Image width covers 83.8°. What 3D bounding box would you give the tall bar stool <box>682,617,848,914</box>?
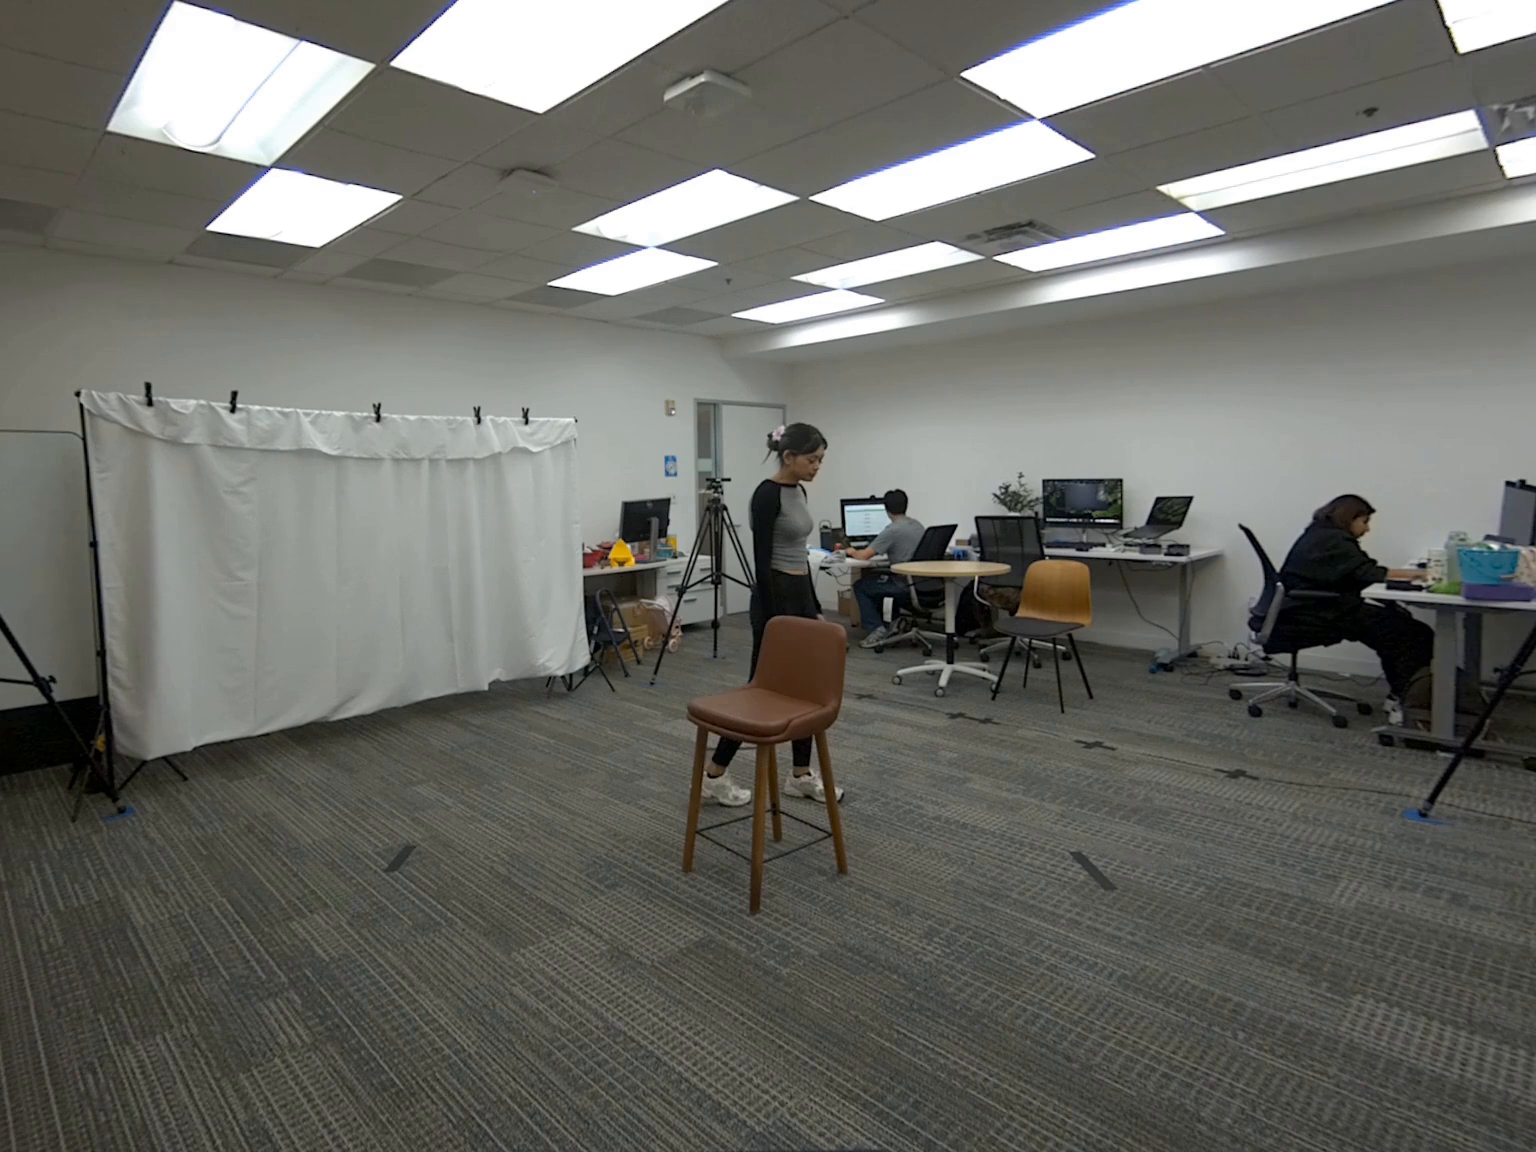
[{"bbox_3d":[-0.006,0.616,3.008,0.455,0.888,0.470,-2,4,-39],"label":"tall bar stool"}]
